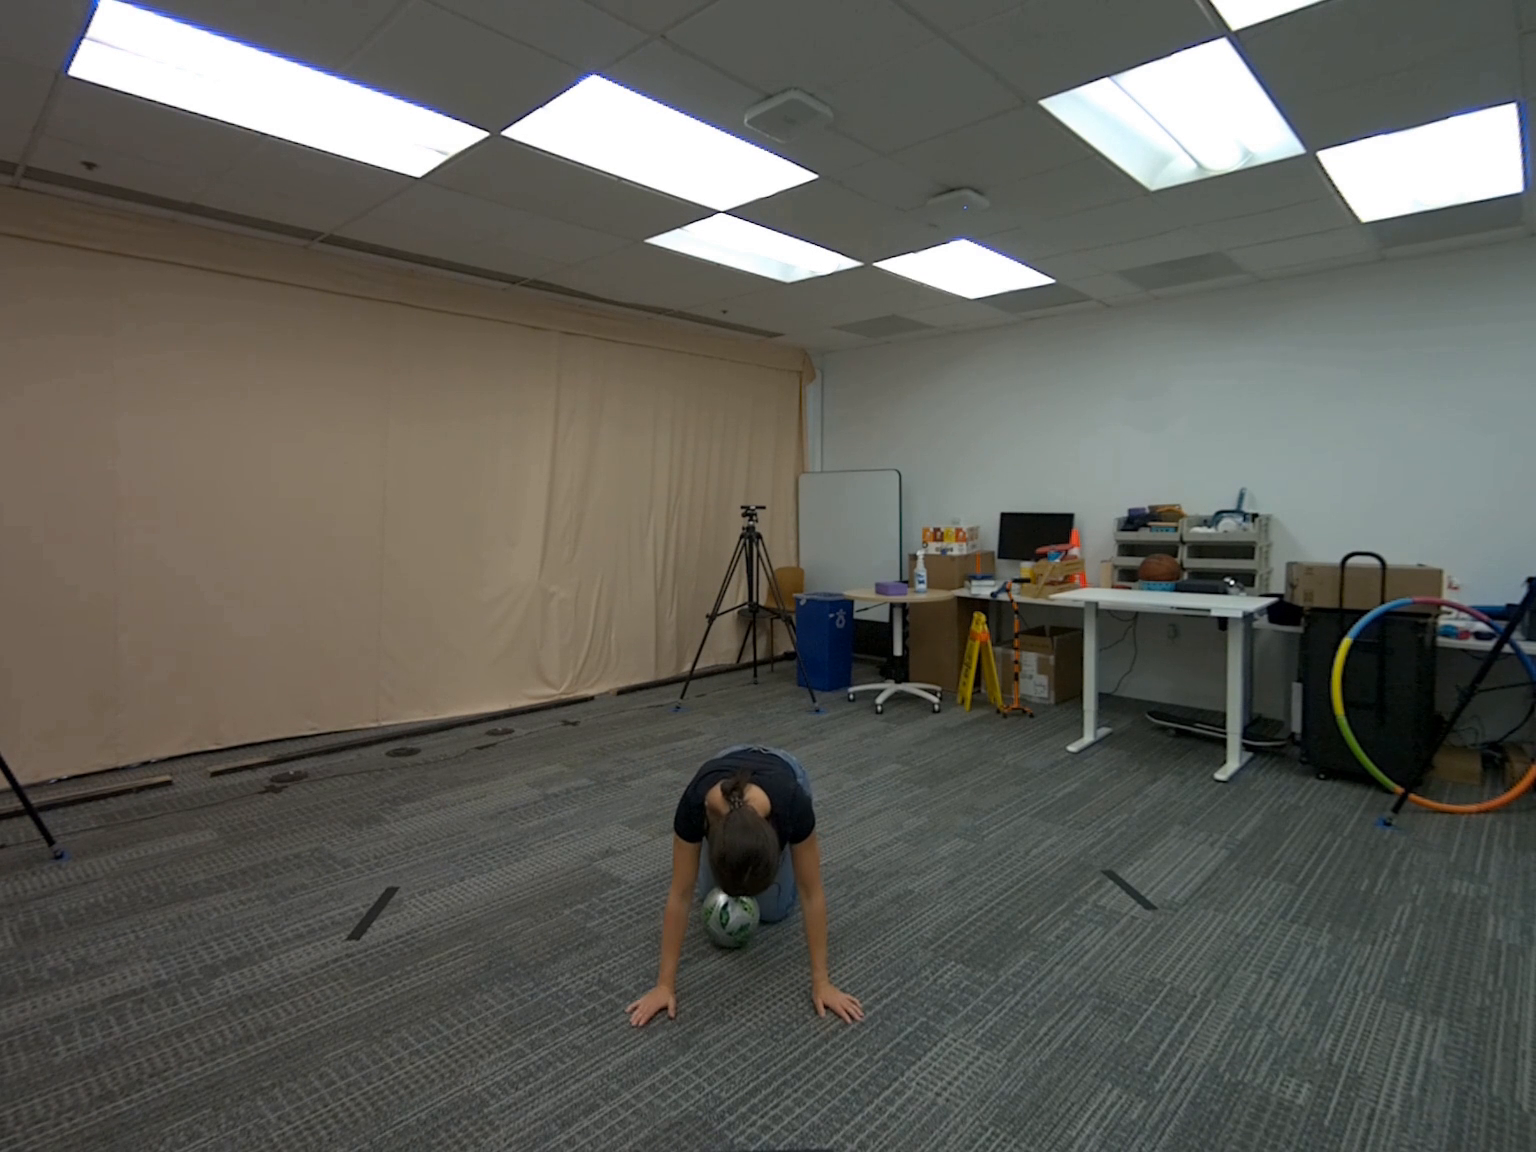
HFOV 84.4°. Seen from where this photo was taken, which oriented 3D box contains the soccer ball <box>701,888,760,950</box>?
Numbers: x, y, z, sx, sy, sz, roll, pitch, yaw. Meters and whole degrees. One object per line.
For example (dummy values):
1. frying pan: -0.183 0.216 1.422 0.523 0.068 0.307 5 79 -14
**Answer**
1. soccer ball: -0.119 1.073 2.677 0.187 0.187 0.188 0 4 -2
